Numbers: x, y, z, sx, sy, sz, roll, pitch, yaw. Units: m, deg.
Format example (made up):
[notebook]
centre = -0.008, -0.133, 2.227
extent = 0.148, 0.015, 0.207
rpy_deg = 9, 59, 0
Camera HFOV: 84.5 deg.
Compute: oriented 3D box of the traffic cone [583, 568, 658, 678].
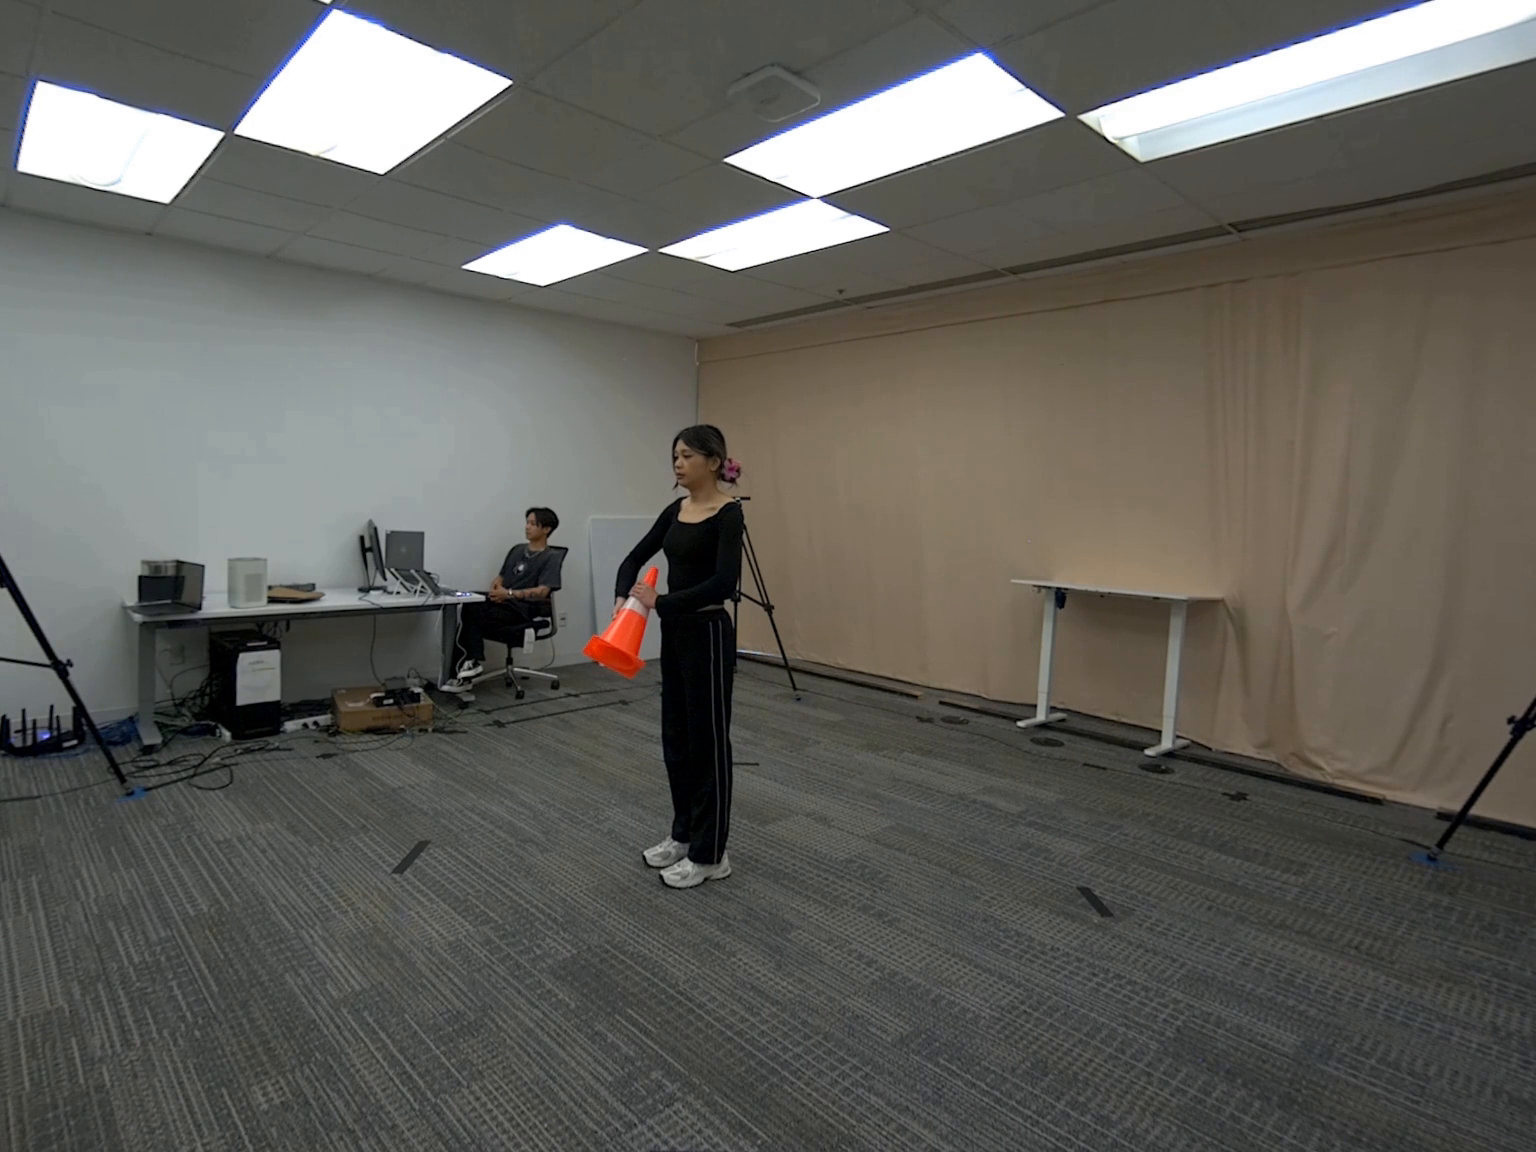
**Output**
[traffic cone]
centre = -0.481, 0.137, 2.966
extent = 0.202, 0.387, 0.205
rpy_deg = 28, -32, -9
